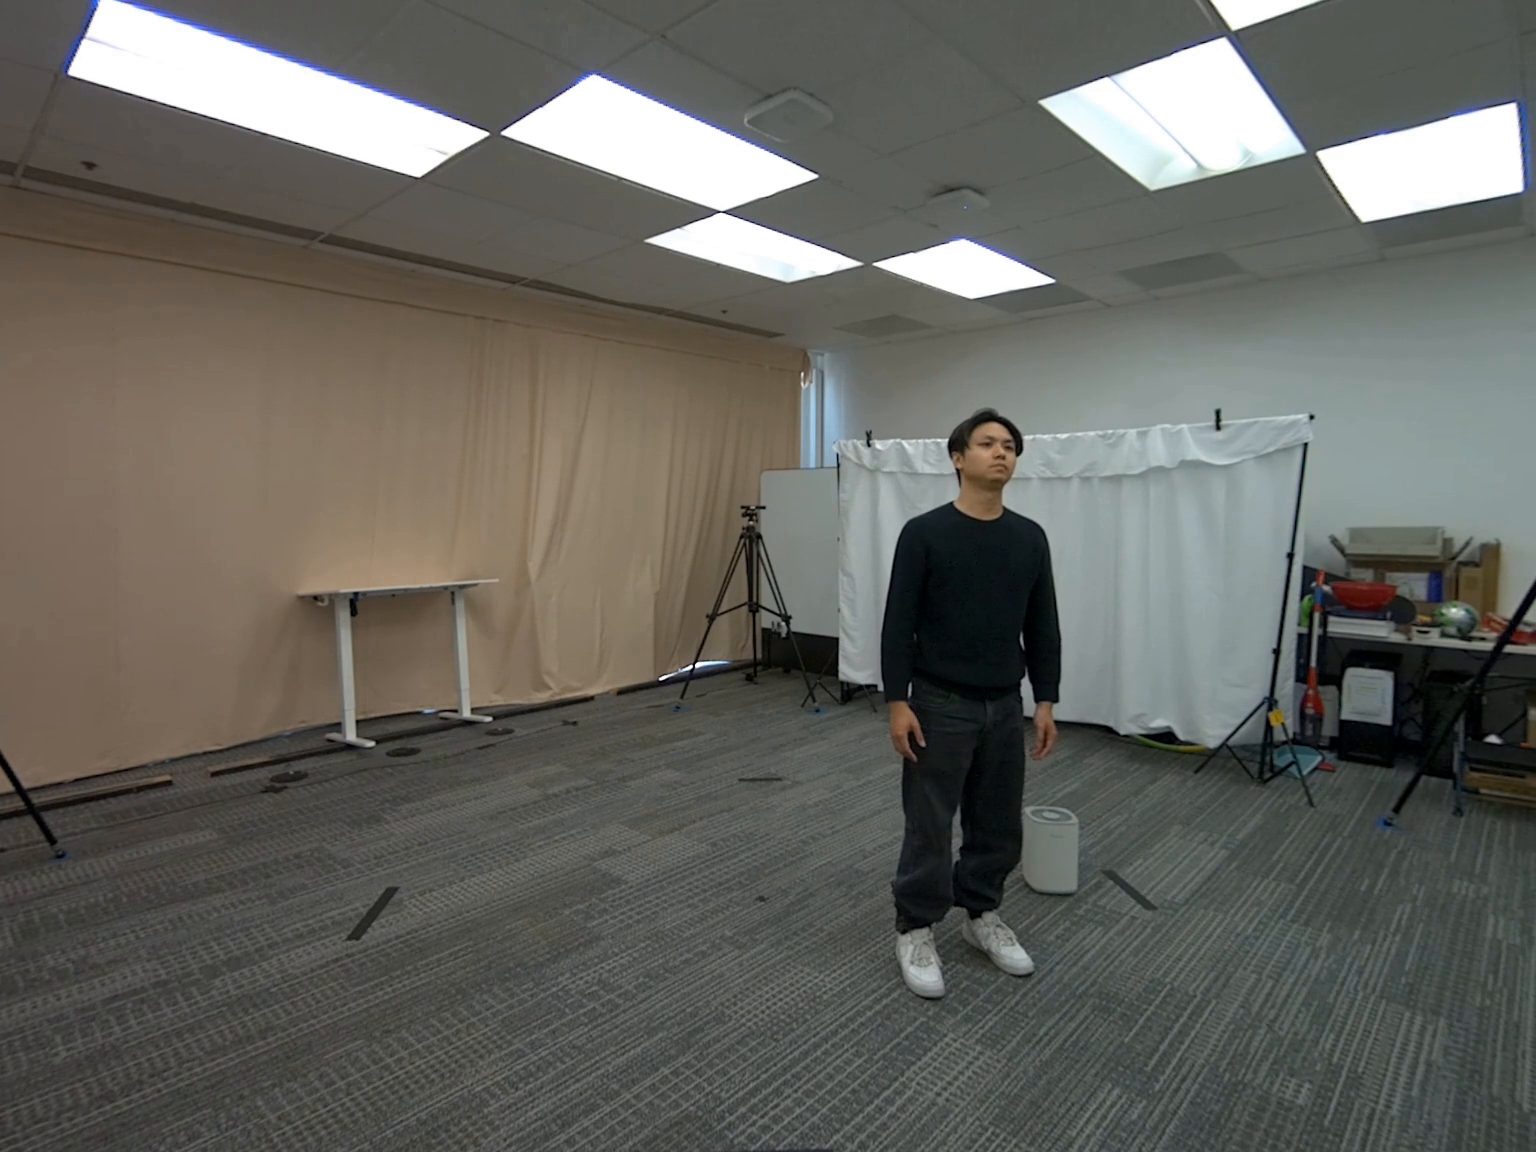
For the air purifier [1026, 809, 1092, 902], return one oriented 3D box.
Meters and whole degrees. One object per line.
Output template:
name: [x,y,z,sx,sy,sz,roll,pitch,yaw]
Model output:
air purifier: [1.051,1.008,3.073,0.172,0.265,0.171,0,3,3]
